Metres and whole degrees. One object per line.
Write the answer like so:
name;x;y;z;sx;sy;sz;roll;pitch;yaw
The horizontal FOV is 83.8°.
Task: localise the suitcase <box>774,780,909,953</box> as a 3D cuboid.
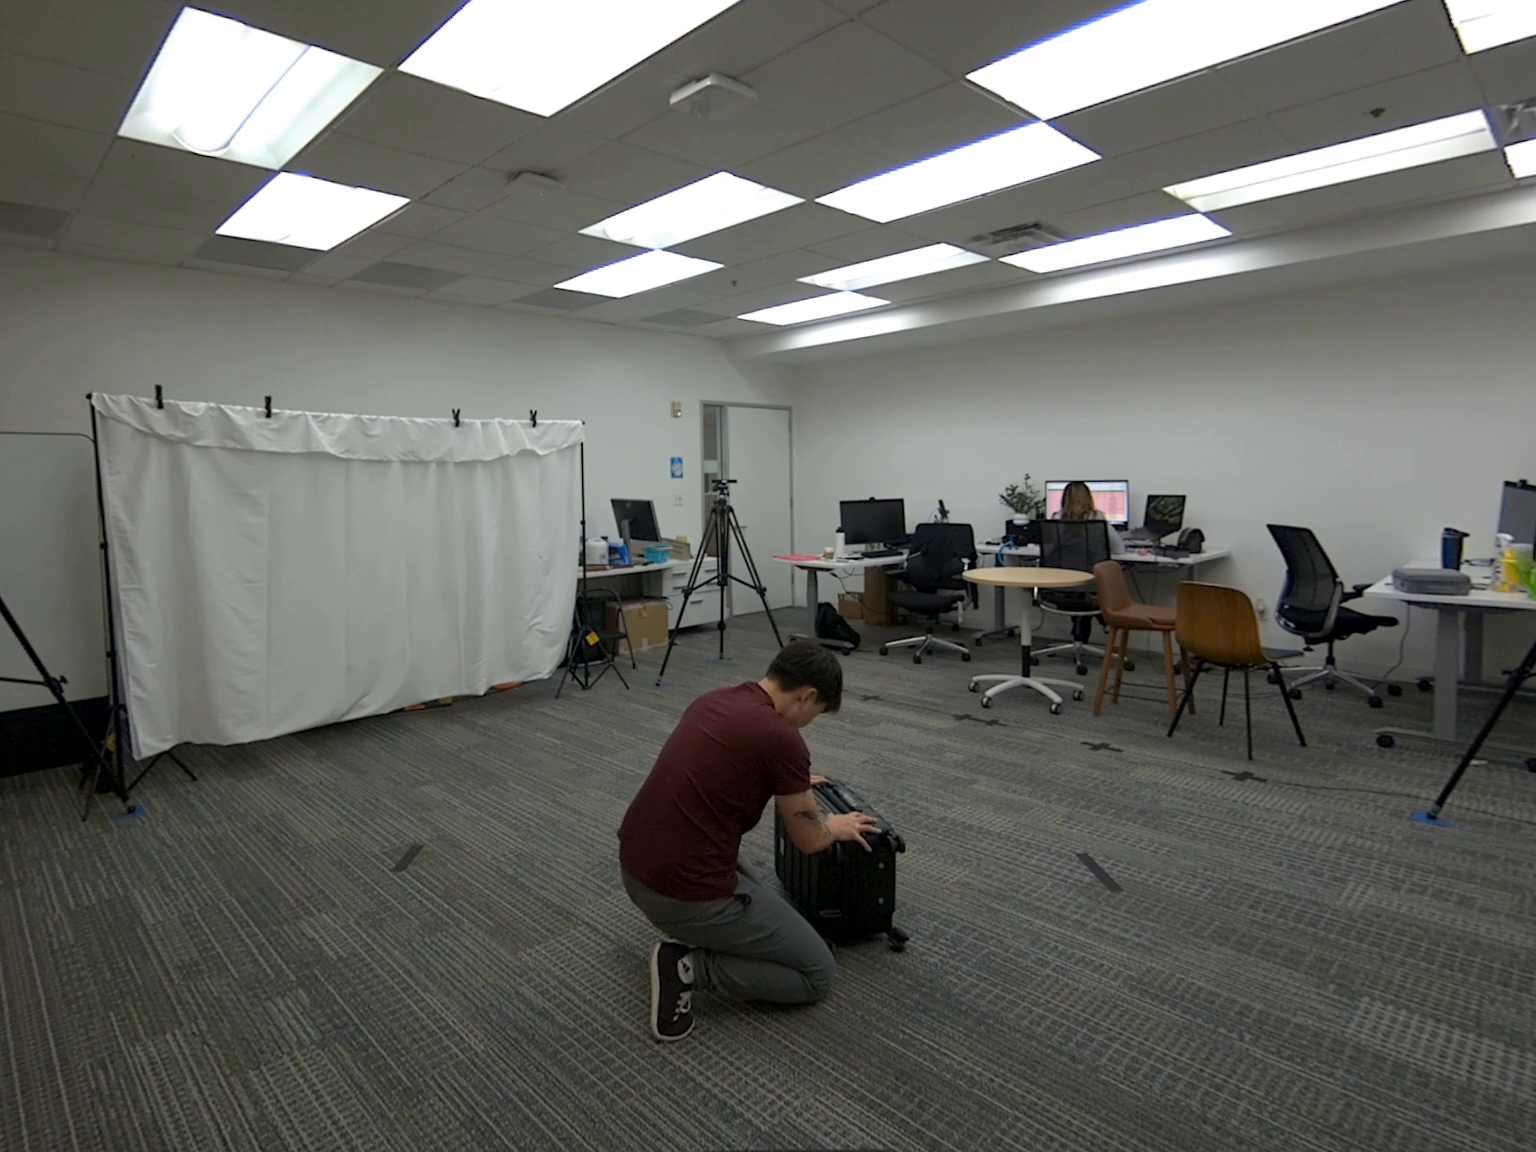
suitcase;0.142;0.872;2.951;0.253;0.382;0.998;-1;6;-19
